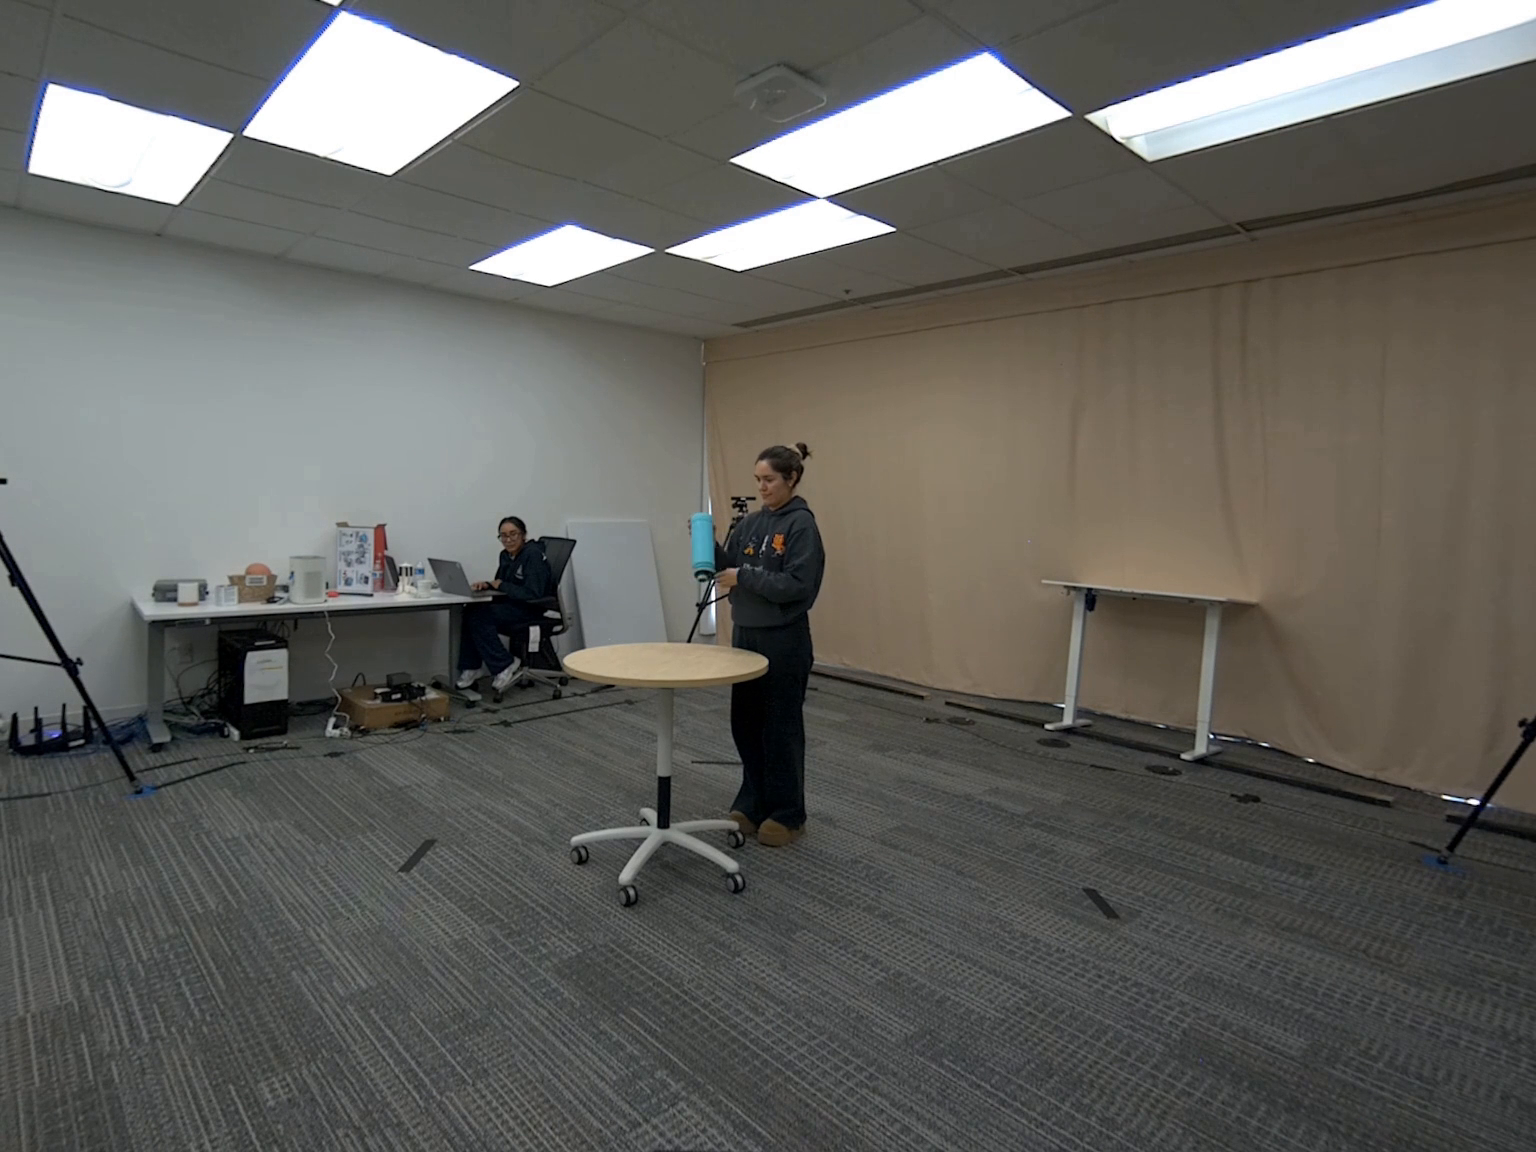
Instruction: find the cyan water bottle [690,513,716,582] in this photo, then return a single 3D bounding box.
[{"bbox_3d":[-0.264,-0.106,3.359,0.092,0.288,0.091,-2,-24,-2],"label":"cyan water bottle"}]
